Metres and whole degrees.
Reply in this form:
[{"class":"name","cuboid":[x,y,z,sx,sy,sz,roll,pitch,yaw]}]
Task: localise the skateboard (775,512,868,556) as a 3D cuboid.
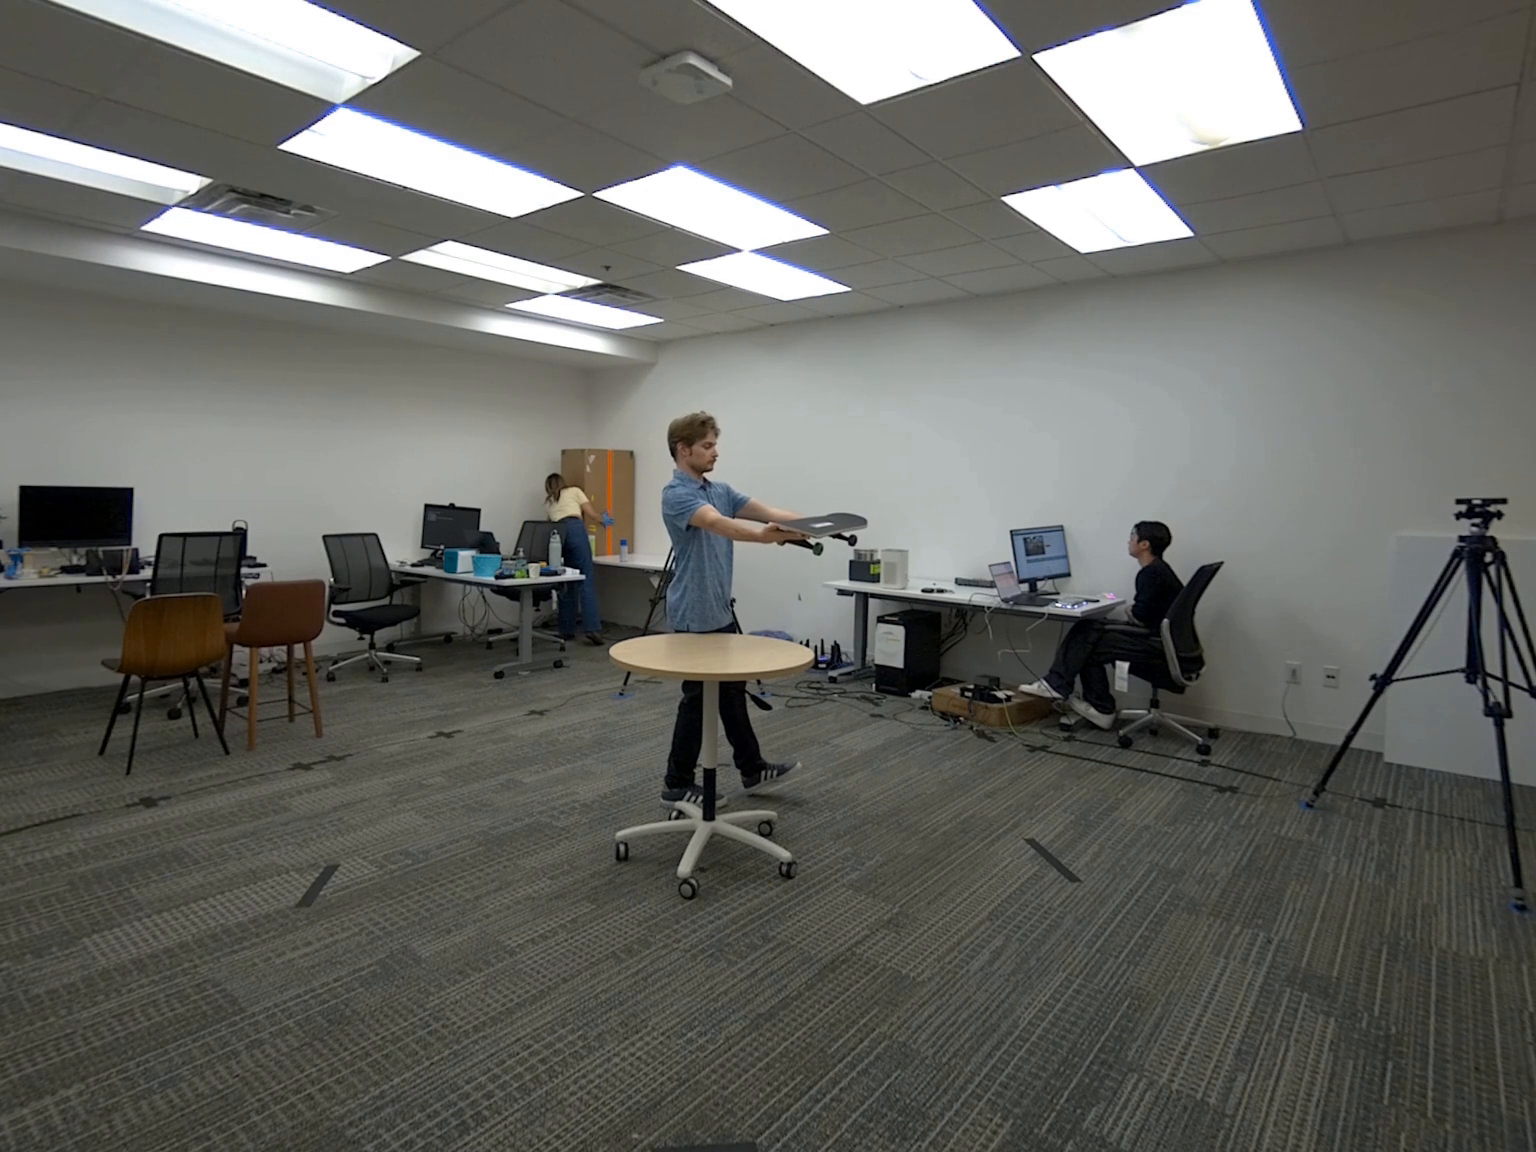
[{"class":"skateboard","cuboid":[0.197,-0.177,3.432,0.199,0.109,0.769,17,13,23]}]
